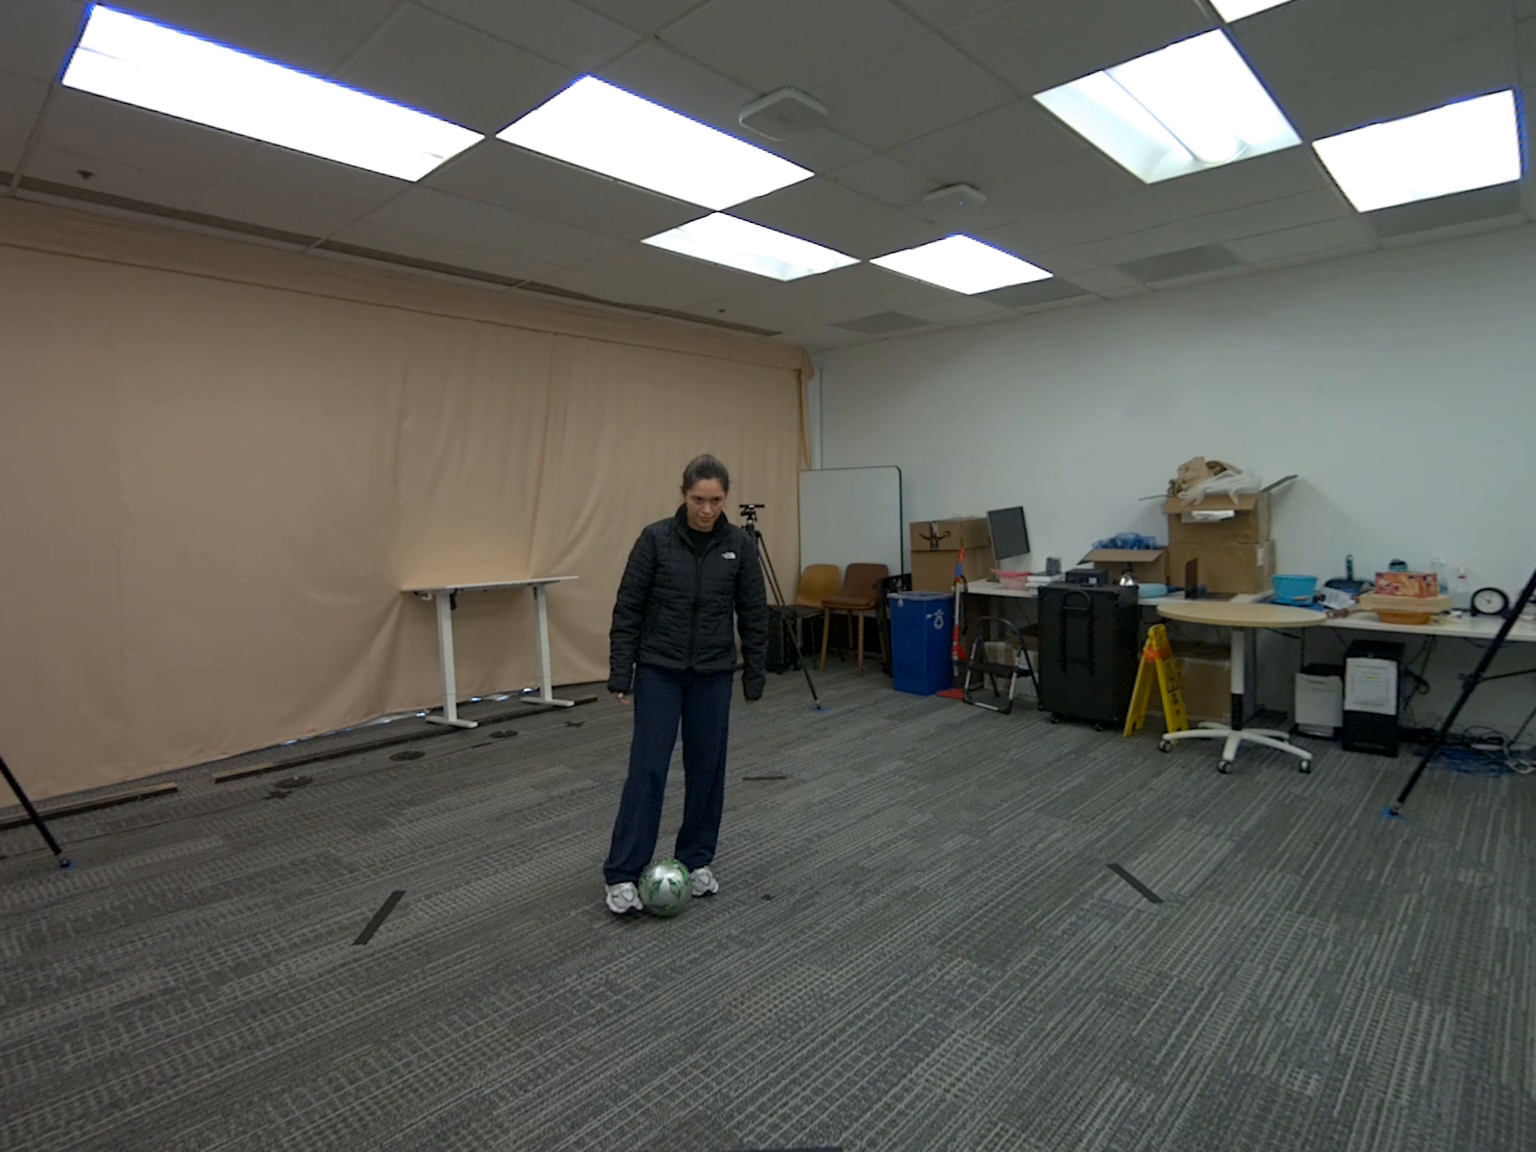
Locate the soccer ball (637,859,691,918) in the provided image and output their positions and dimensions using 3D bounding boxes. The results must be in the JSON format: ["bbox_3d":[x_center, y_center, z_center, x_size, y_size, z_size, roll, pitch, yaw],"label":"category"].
[{"bbox_3d":[-0.355,1.062,2.872,0.187,0.187,0.188,-1,4,-2],"label":"soccer ball"}]
